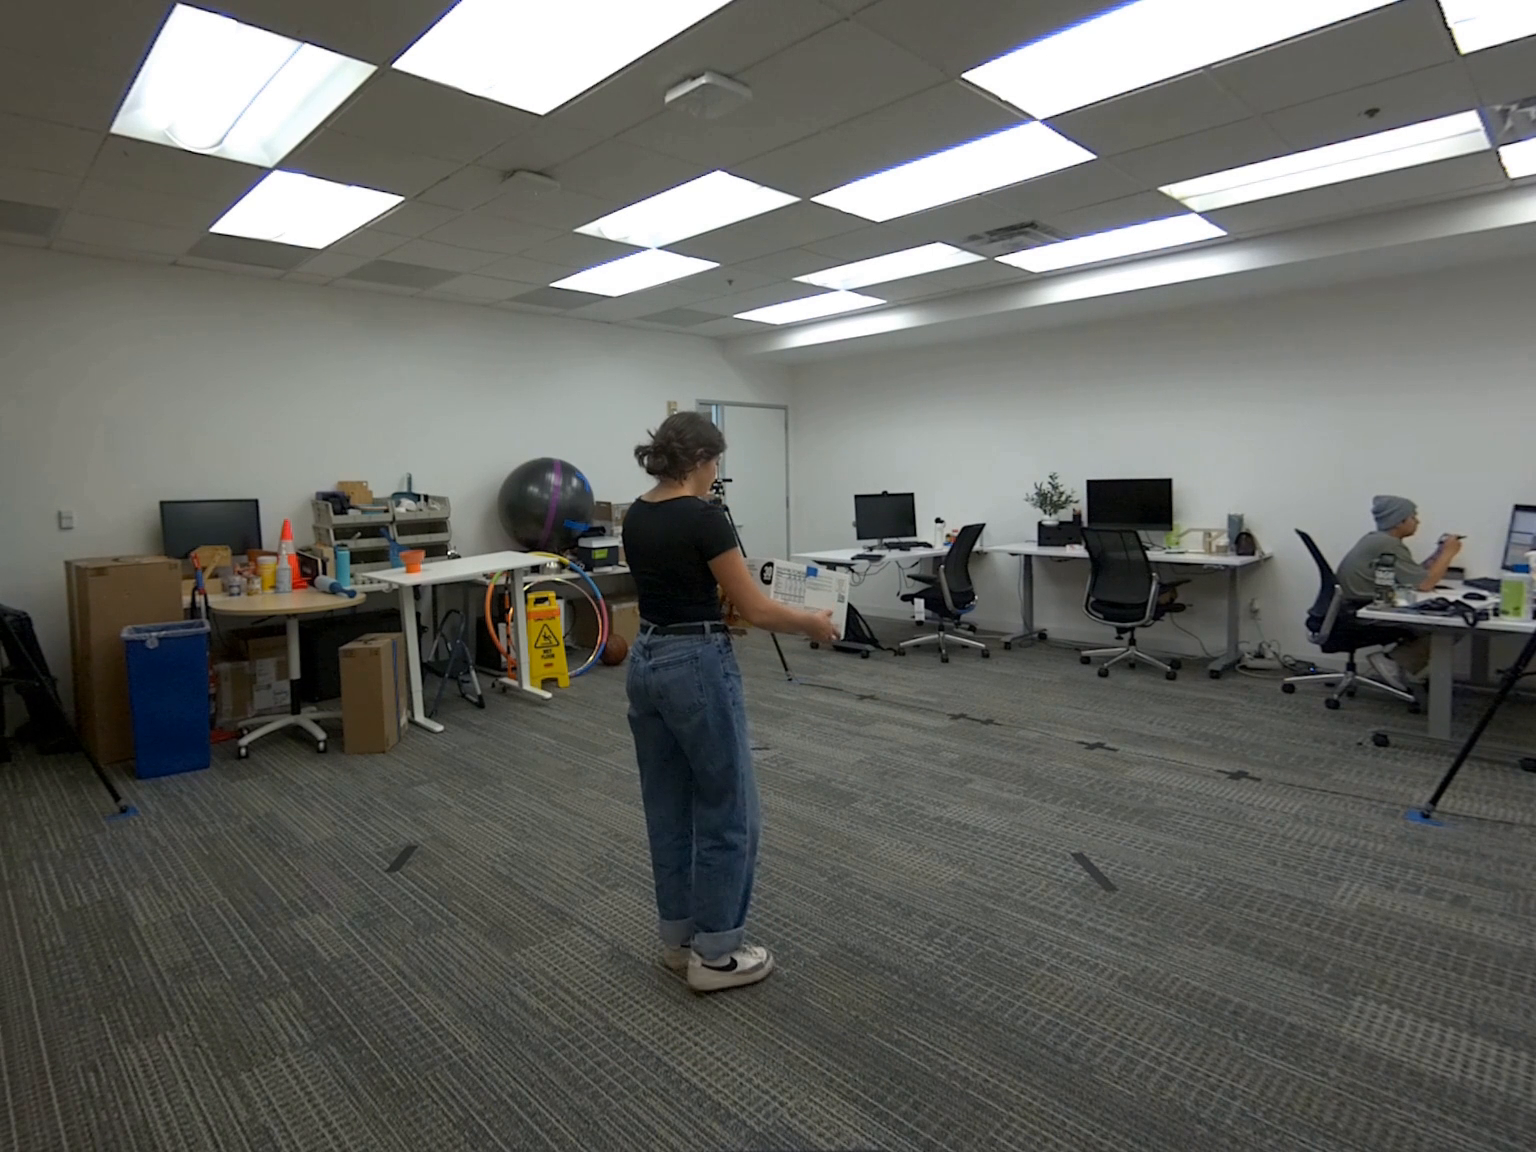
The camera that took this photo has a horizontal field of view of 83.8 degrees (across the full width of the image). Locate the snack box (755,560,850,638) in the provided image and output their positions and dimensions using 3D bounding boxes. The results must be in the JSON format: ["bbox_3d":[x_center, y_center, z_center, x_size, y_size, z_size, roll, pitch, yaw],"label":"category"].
[{"bbox_3d":[-0.018,0.071,2.634,0.329,0.207,0.417,12,-7,-44],"label":"snack box"}]
